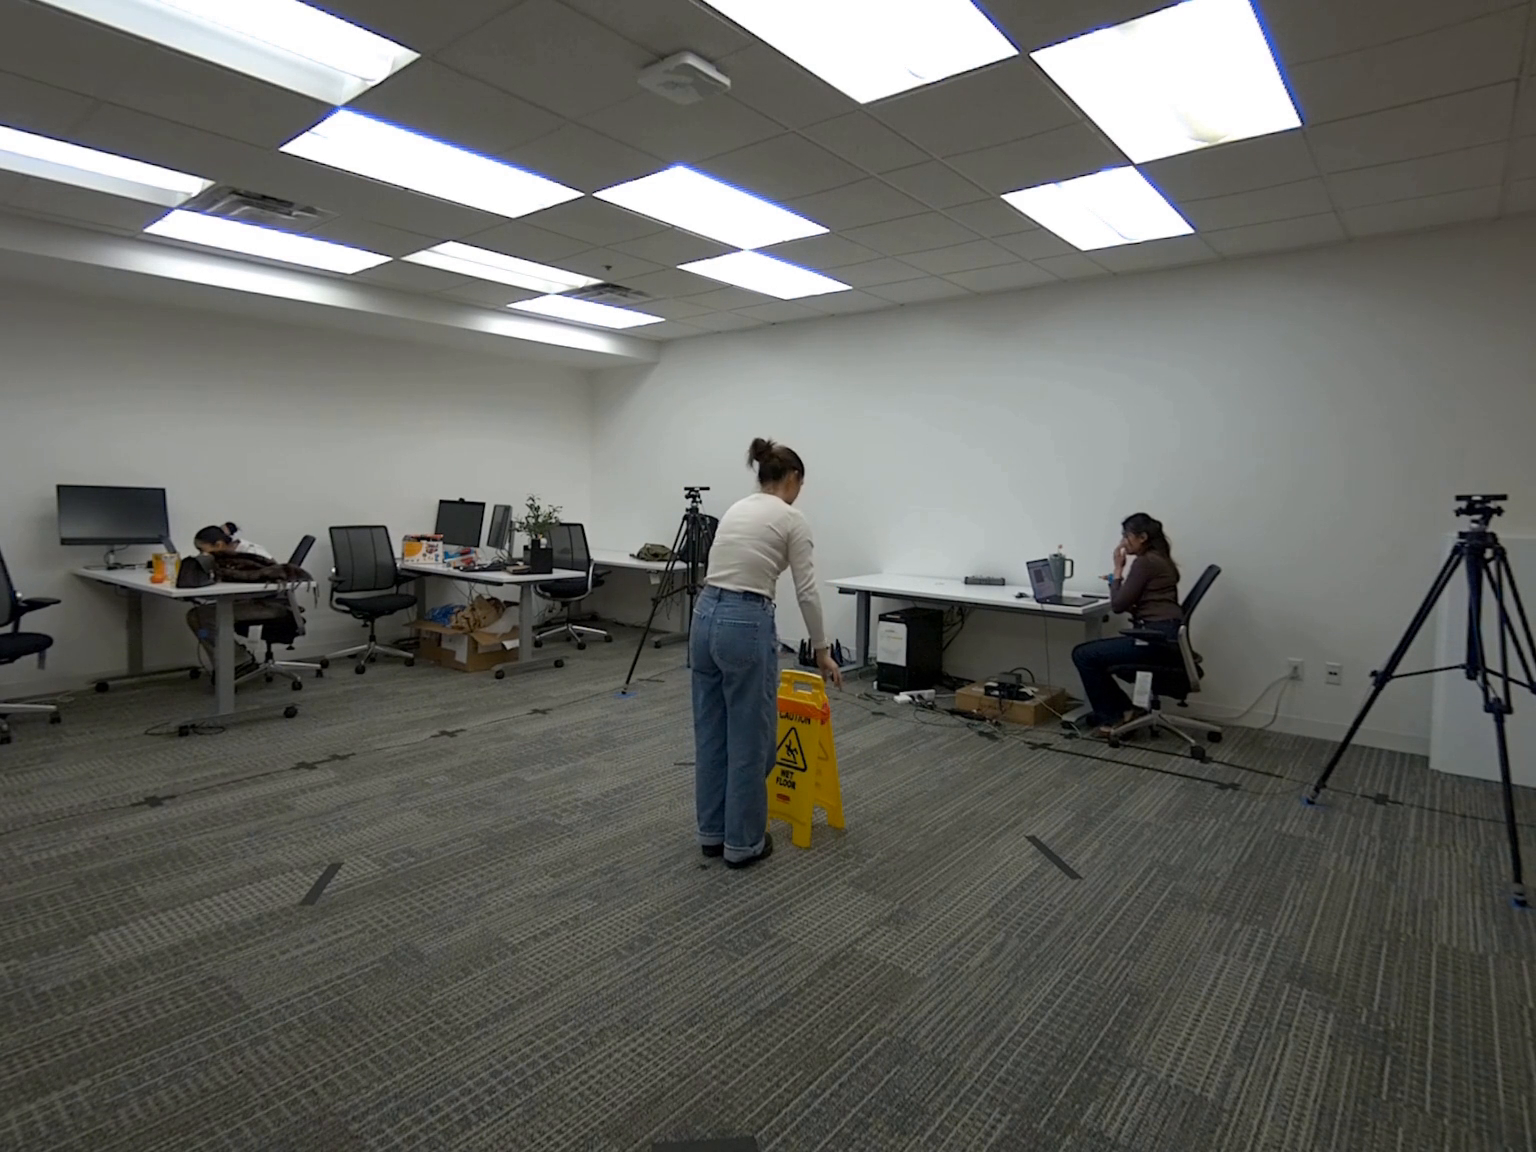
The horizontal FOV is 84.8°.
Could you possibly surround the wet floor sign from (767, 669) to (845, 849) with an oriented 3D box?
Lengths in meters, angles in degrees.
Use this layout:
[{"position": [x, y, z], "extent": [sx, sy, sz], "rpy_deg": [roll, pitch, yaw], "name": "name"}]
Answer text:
[{"position": [0.124, 0.710, 3.472], "extent": [0.292, 0.644, 0.281], "rpy_deg": [5, 3, 39], "name": "wet floor sign"}]
